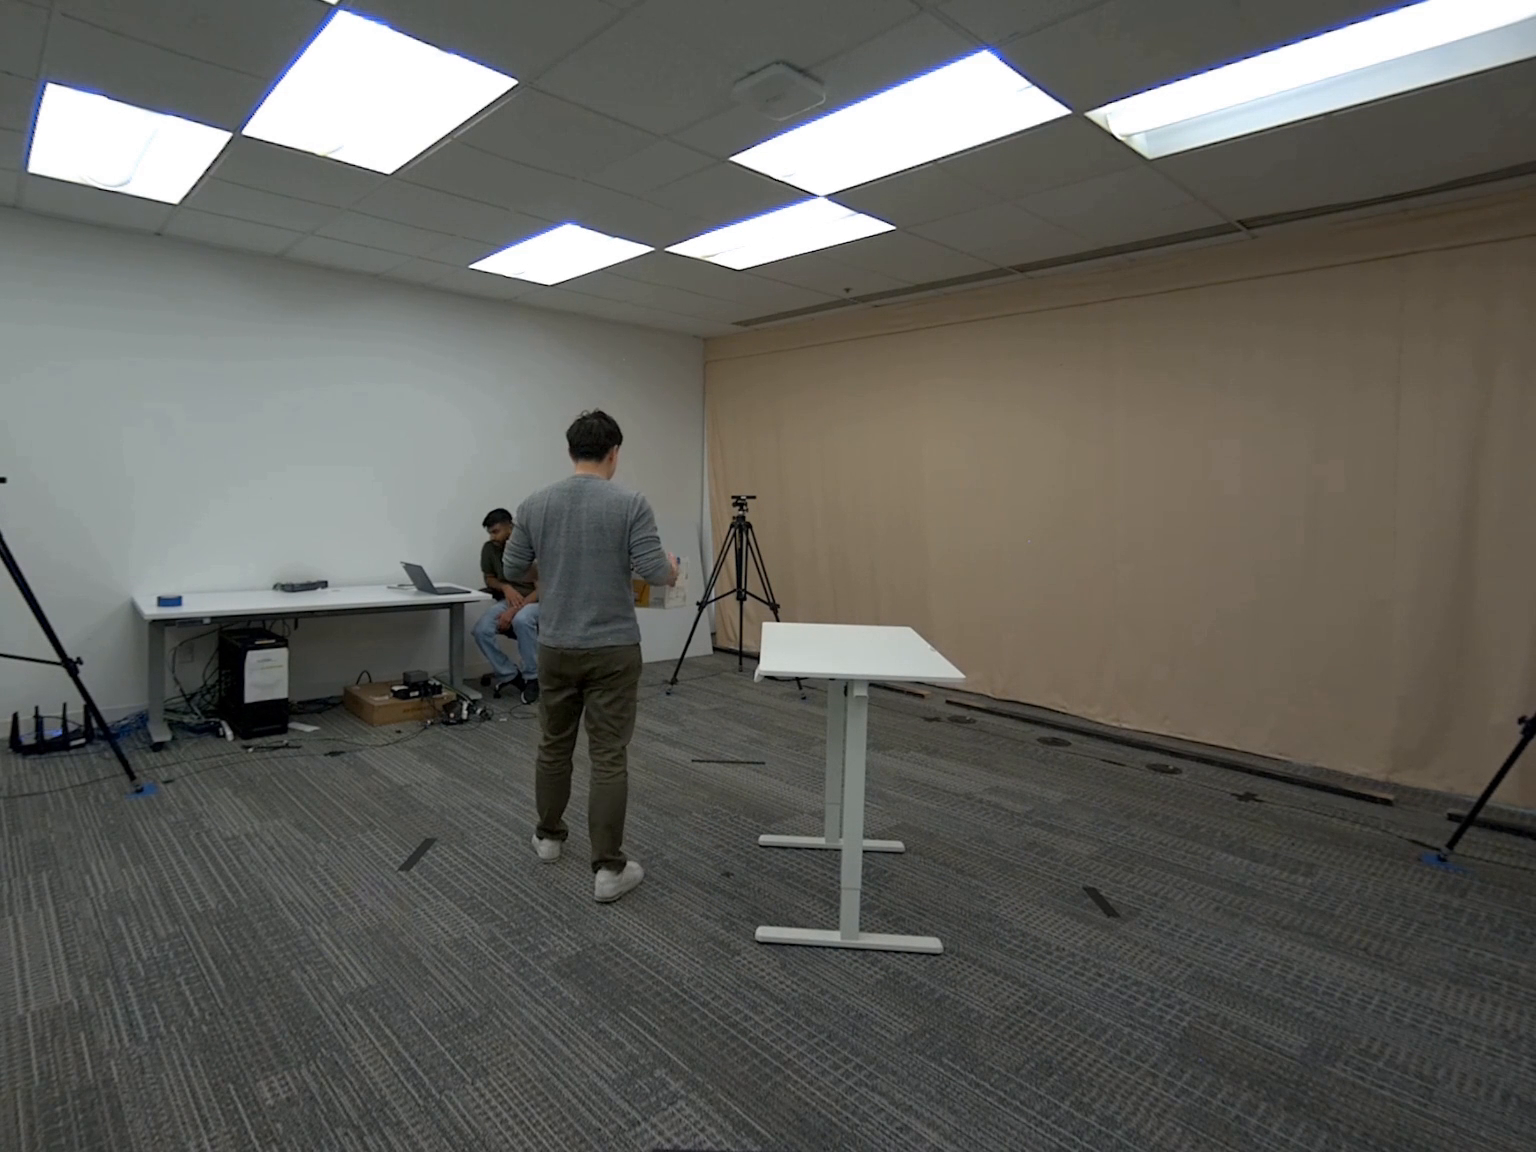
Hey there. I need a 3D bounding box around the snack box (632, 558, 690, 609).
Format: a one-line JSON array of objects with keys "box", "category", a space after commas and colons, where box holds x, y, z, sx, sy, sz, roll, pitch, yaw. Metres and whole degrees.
[{"box": [-0.563, 0.013, 3.397, 0.409, 0.205, 0.337, 3, 2, 11], "category": "snack box"}]
